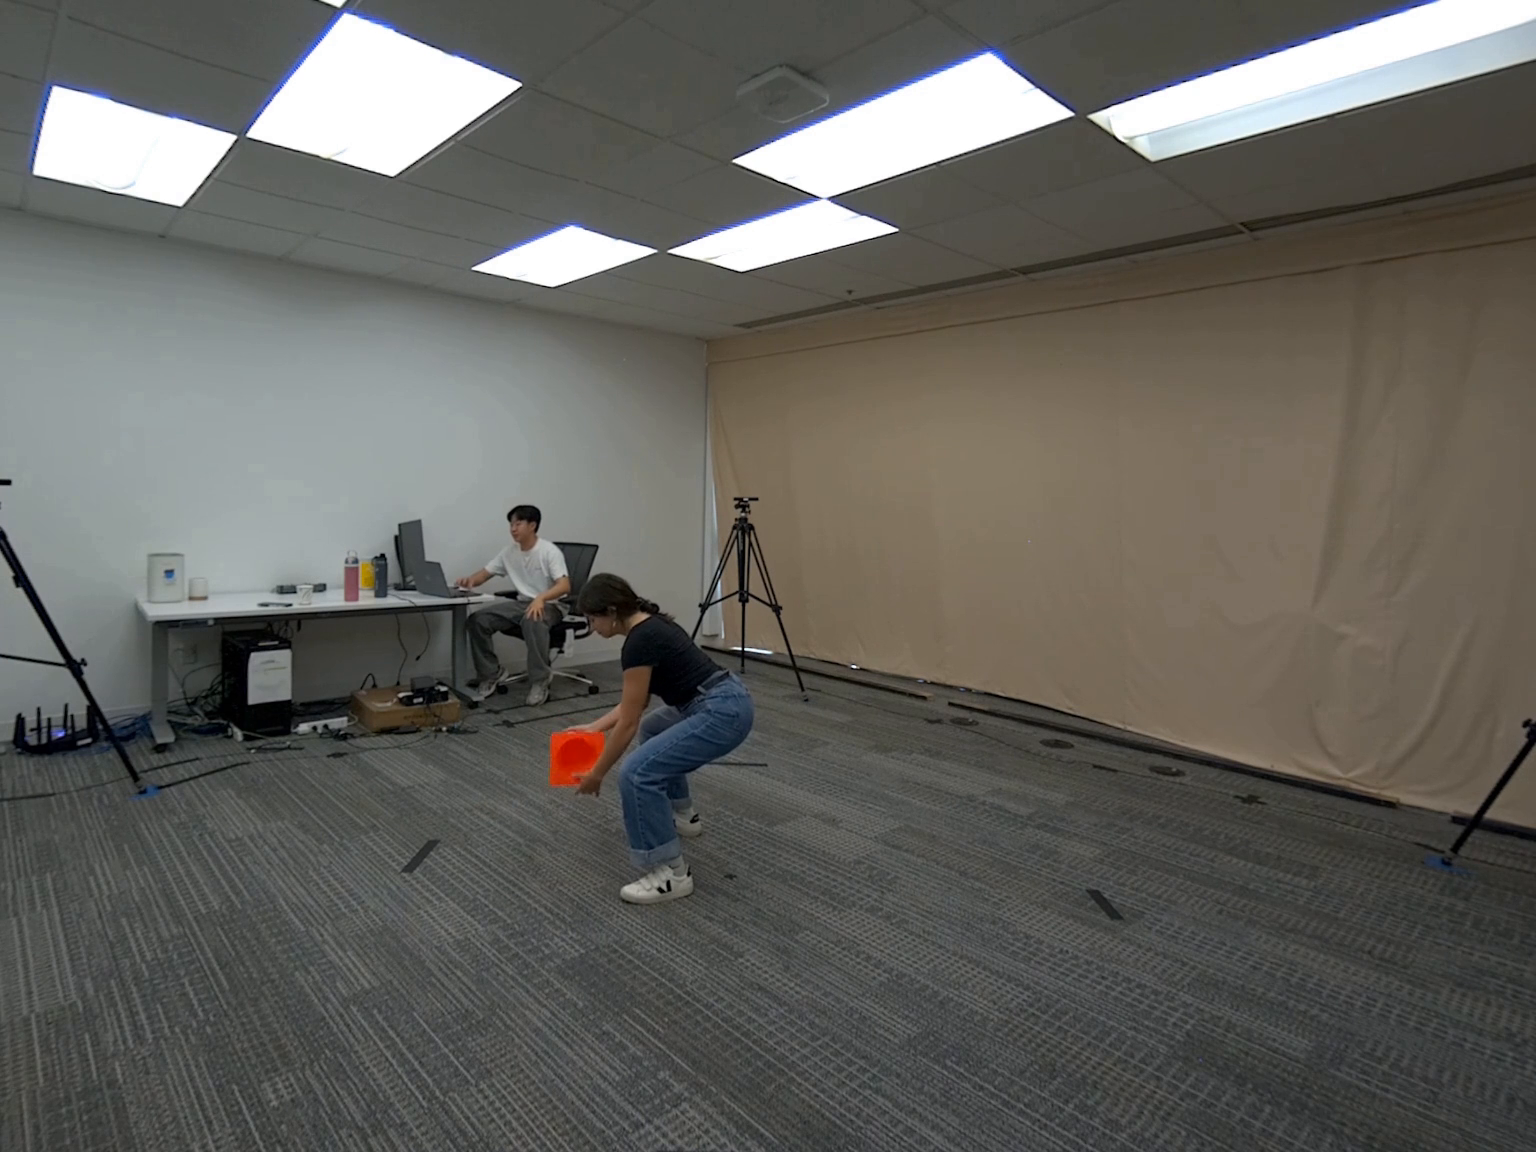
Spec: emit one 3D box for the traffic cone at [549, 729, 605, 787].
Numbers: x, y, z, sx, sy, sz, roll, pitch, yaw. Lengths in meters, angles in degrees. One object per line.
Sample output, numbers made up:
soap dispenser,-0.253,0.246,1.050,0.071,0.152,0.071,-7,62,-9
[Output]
traffic cone,-0.805,0.696,3.335,0.201,0.203,0.390,0,2,-24
